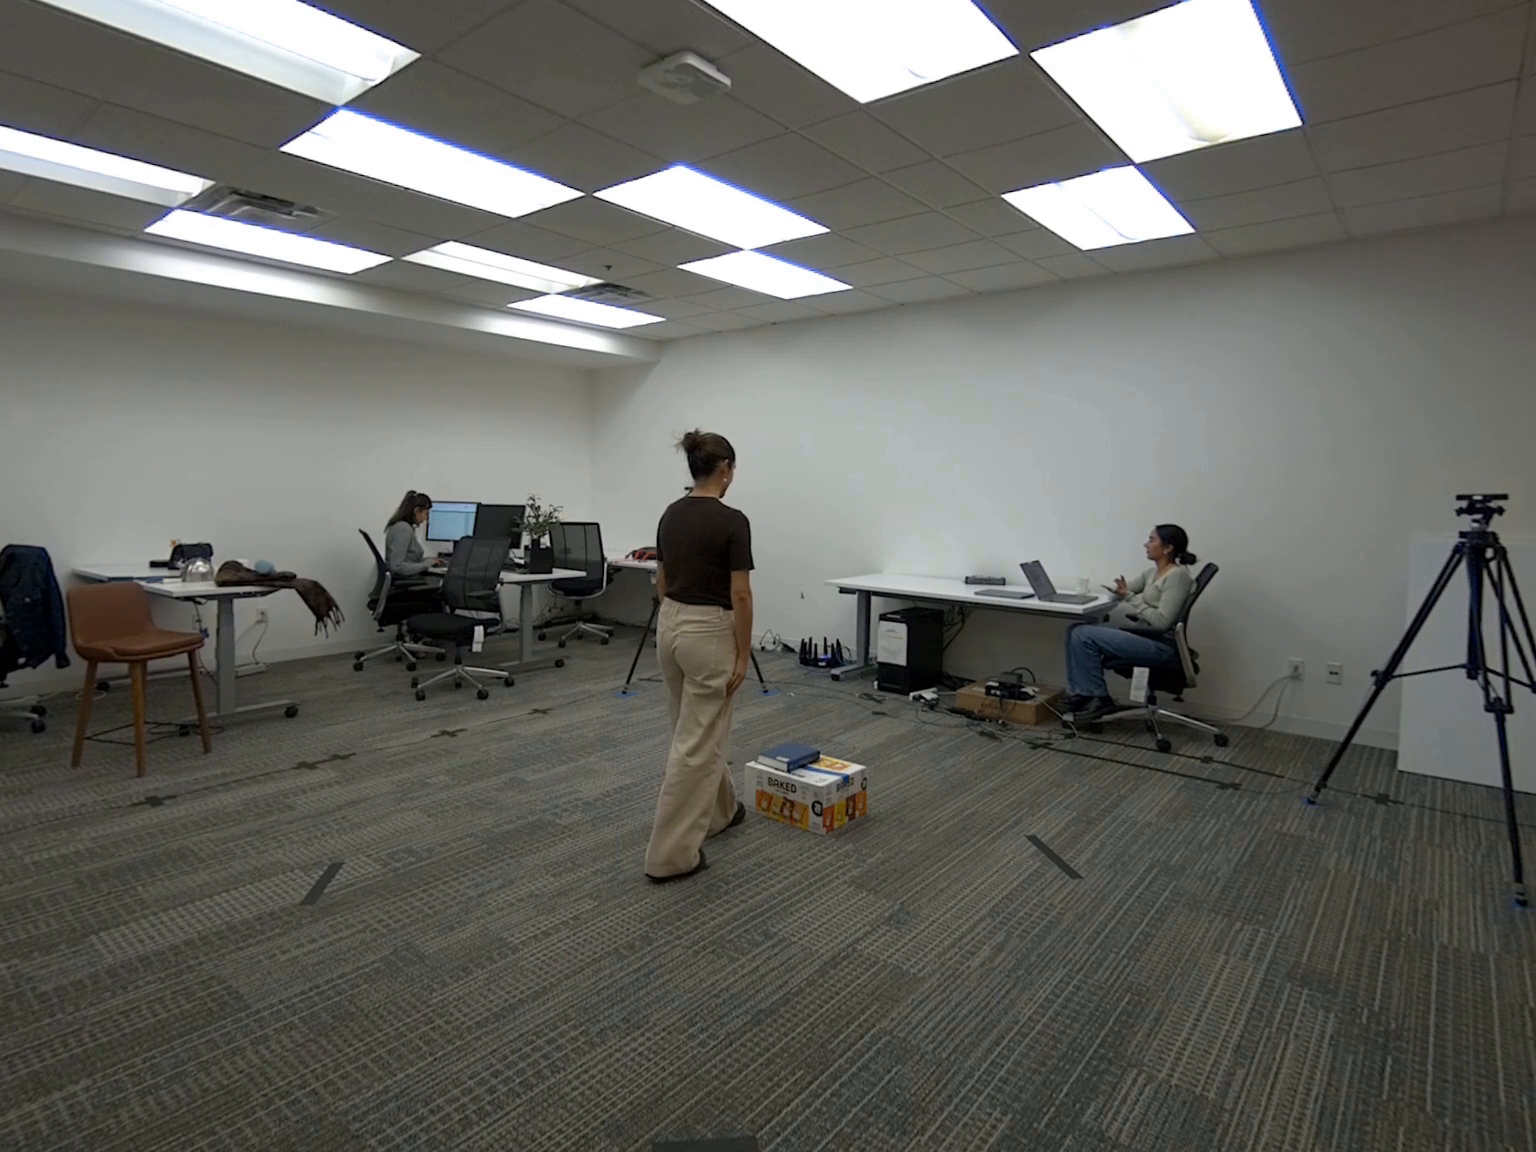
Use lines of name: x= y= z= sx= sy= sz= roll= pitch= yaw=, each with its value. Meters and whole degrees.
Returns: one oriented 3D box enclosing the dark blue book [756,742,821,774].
dark blue book: x=0.082 y=0.788 z=3.727 sx=0.169 sy=0.045 sz=0.238 roll=9 pitch=10 yaw=39
